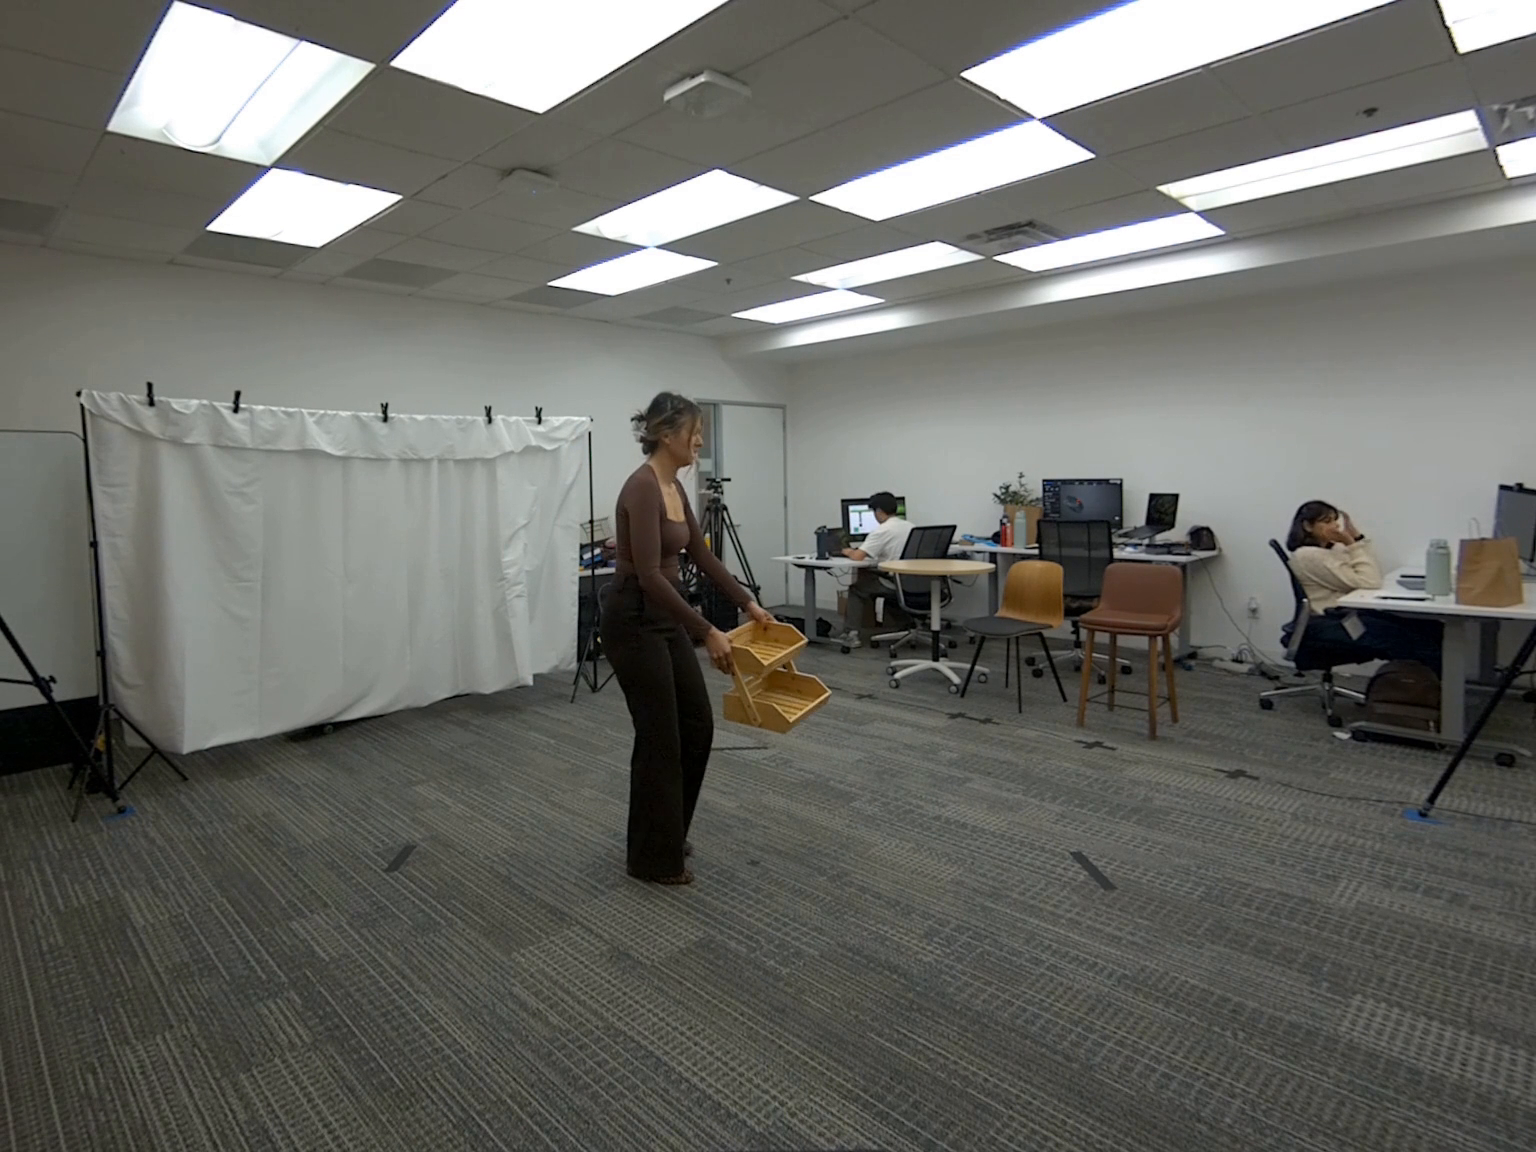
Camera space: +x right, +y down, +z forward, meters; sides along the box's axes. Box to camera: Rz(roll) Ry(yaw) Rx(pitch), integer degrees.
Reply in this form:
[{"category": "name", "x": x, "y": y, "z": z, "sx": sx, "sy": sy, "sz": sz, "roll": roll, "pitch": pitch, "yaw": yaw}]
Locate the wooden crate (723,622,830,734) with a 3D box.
[{"category": "wooden crate", "x": 0.013, "y": 0.322, "z": 2.861, "sx": 0.310, "sy": 0.270, "sz": 0.319, "roll": 7, "pitch": 13, "yaw": 30}]
